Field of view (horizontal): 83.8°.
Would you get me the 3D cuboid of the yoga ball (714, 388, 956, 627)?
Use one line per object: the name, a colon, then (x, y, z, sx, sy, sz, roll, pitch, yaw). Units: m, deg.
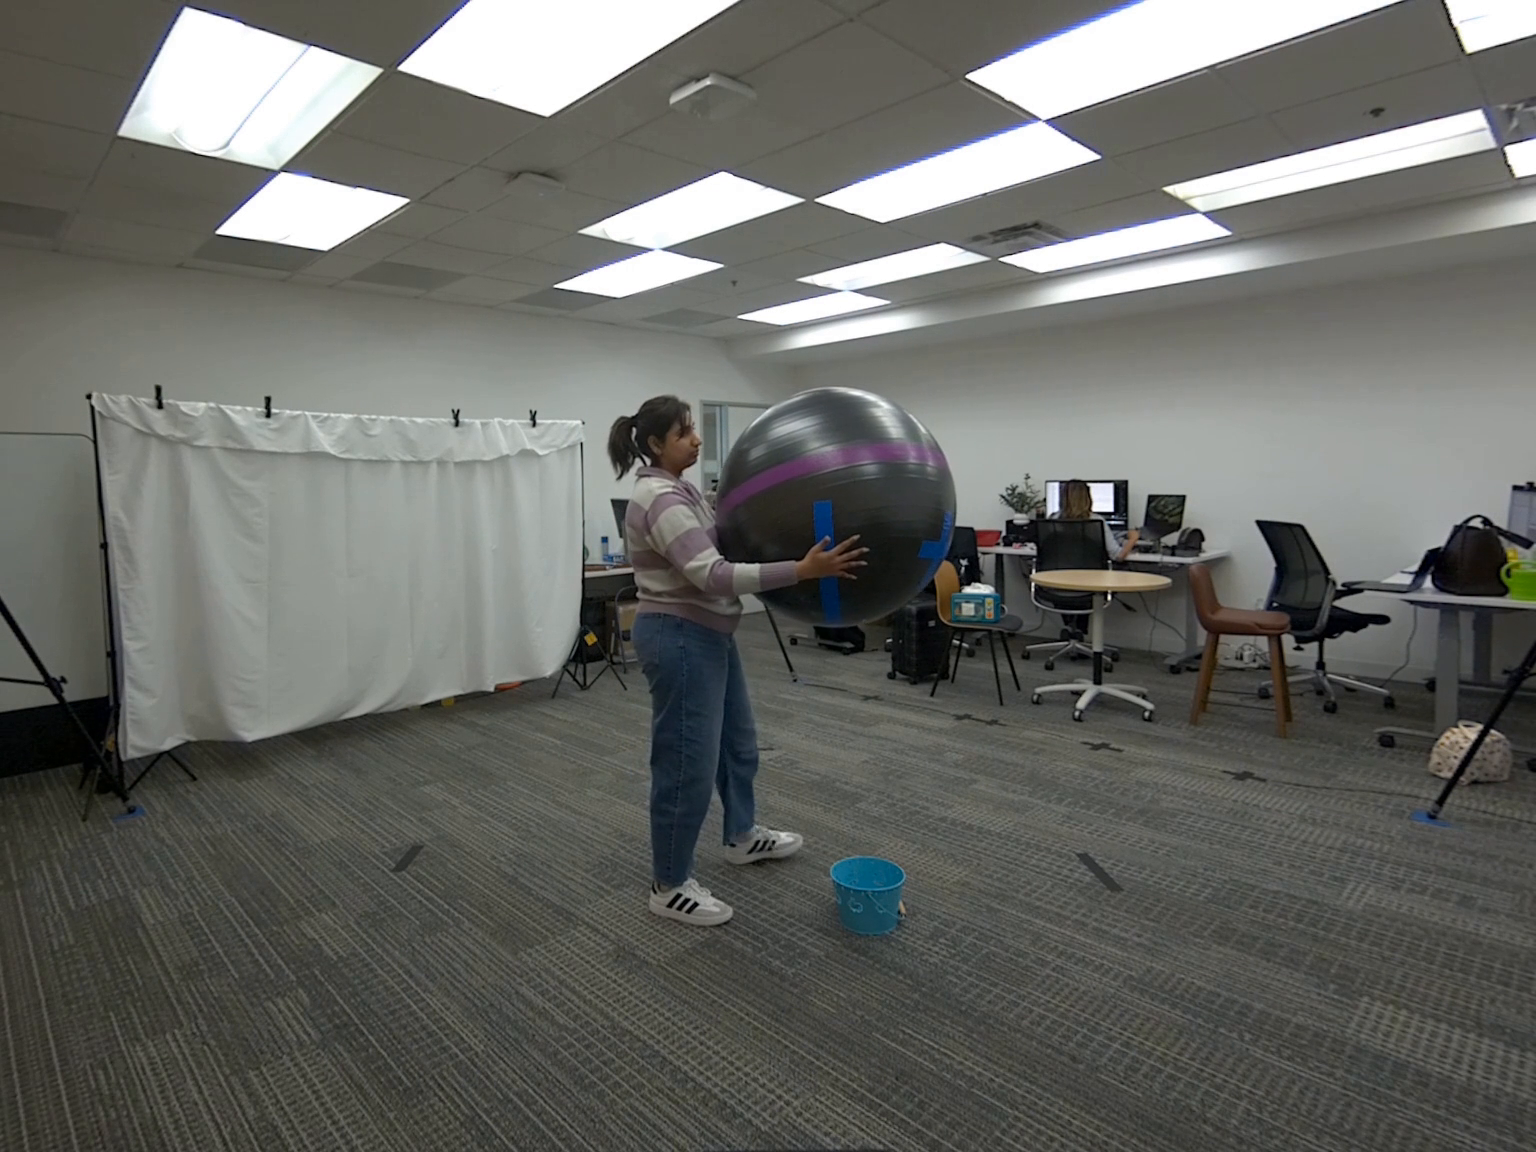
yoga ball: (0.228, -0.217, 2.733, 0.757, 0.755, 0.762, -1, 5, -2)
